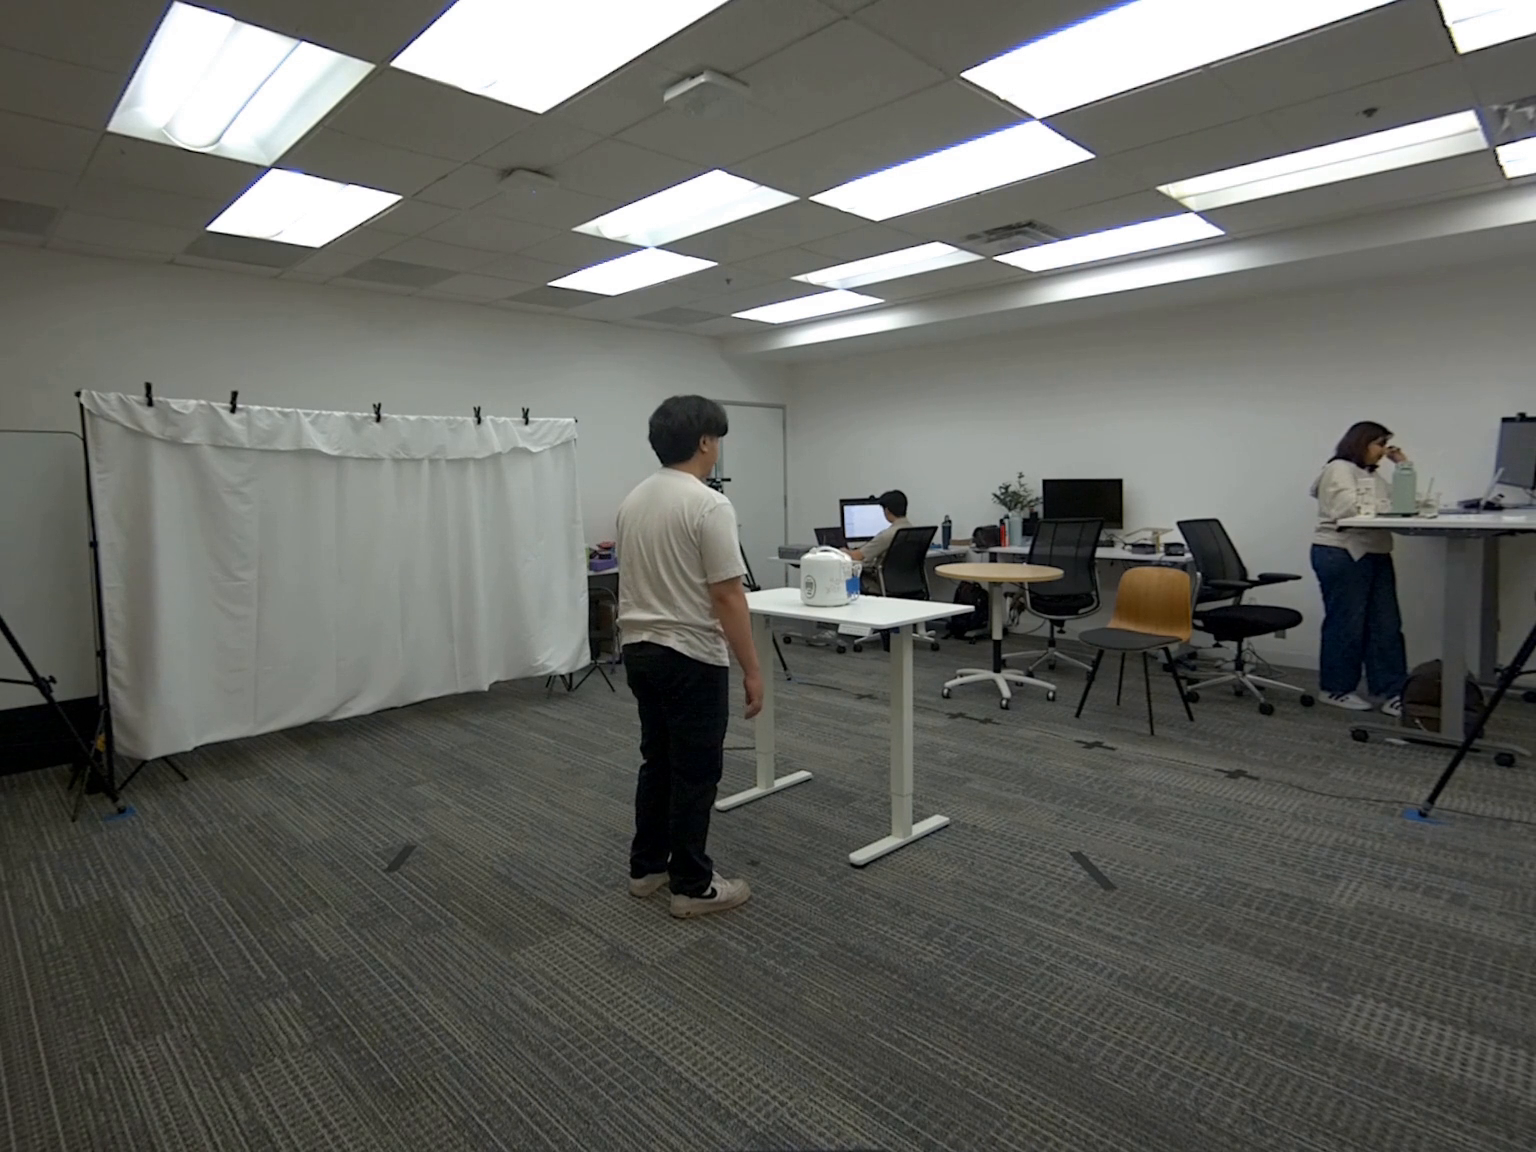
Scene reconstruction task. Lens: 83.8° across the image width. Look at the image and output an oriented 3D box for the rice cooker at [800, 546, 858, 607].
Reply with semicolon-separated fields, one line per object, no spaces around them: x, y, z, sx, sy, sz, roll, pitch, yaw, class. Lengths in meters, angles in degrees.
0.241;0.000;3.441;0.227;0.232;0.211;3;4;44;rice cooker
